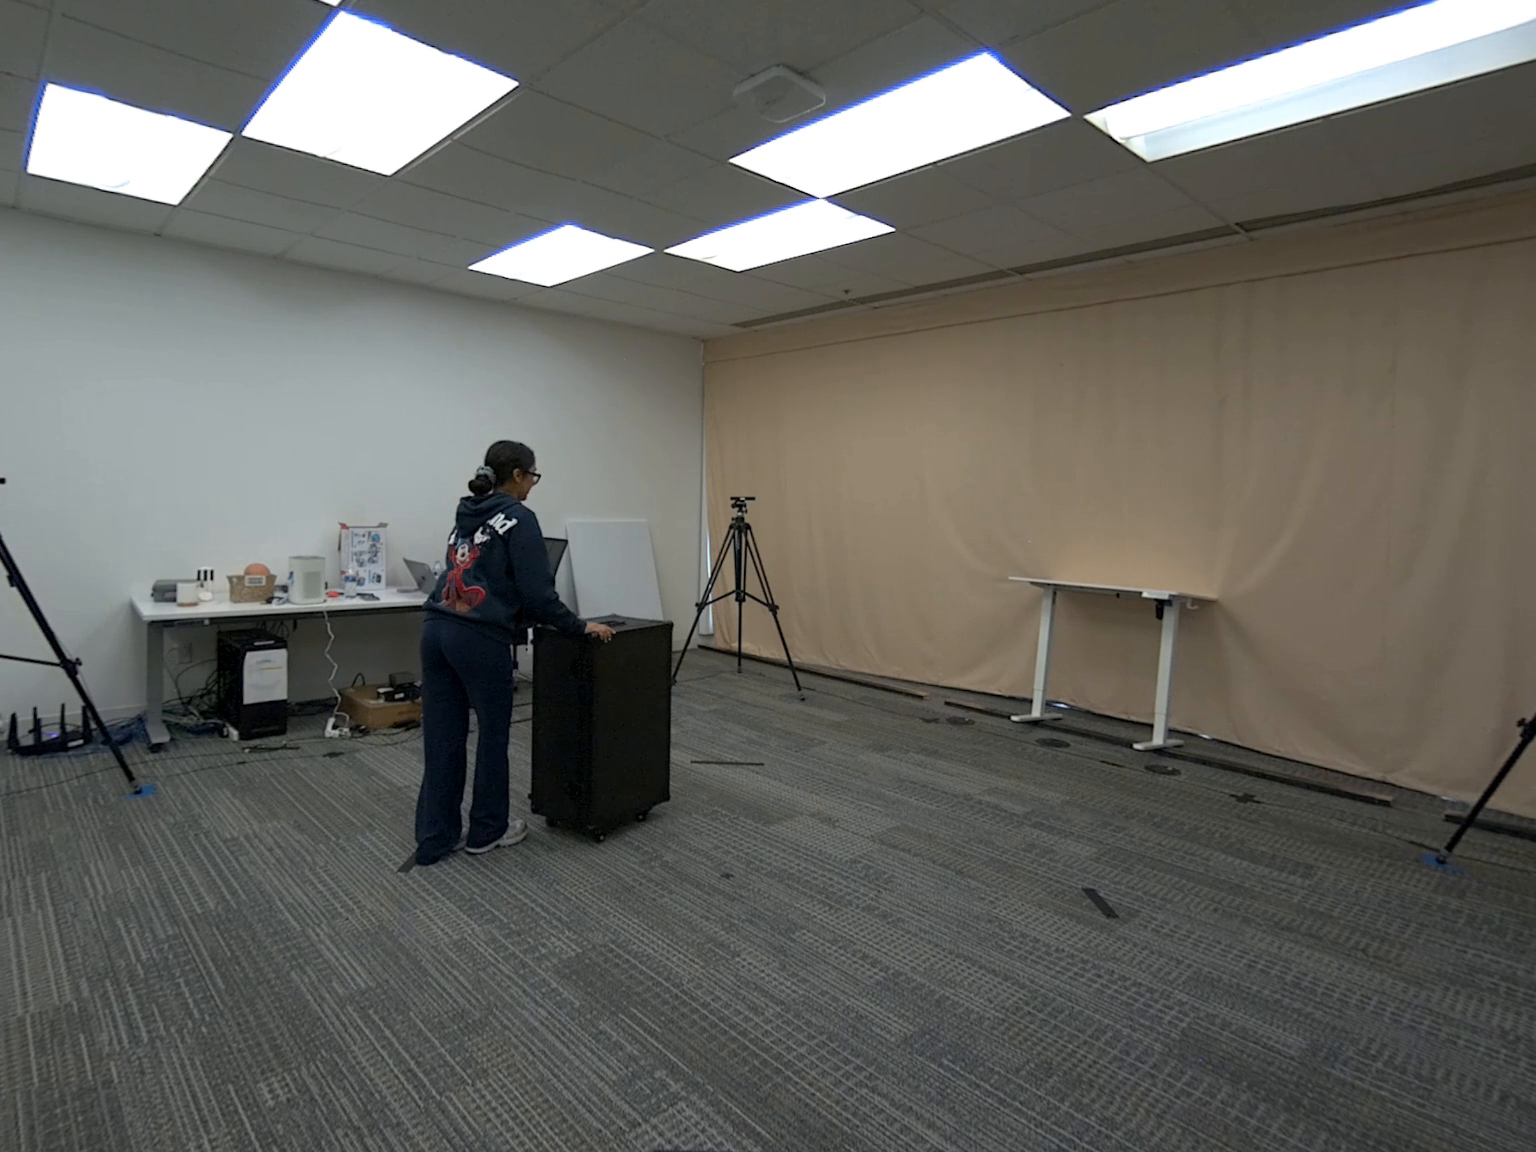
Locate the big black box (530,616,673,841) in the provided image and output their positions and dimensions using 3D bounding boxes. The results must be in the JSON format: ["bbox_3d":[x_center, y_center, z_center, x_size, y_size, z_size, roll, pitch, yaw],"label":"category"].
[{"bbox_3d":[-0.716,0.627,3.567,0.405,0.860,0.510,3,3,34],"label":"big black box"}]
